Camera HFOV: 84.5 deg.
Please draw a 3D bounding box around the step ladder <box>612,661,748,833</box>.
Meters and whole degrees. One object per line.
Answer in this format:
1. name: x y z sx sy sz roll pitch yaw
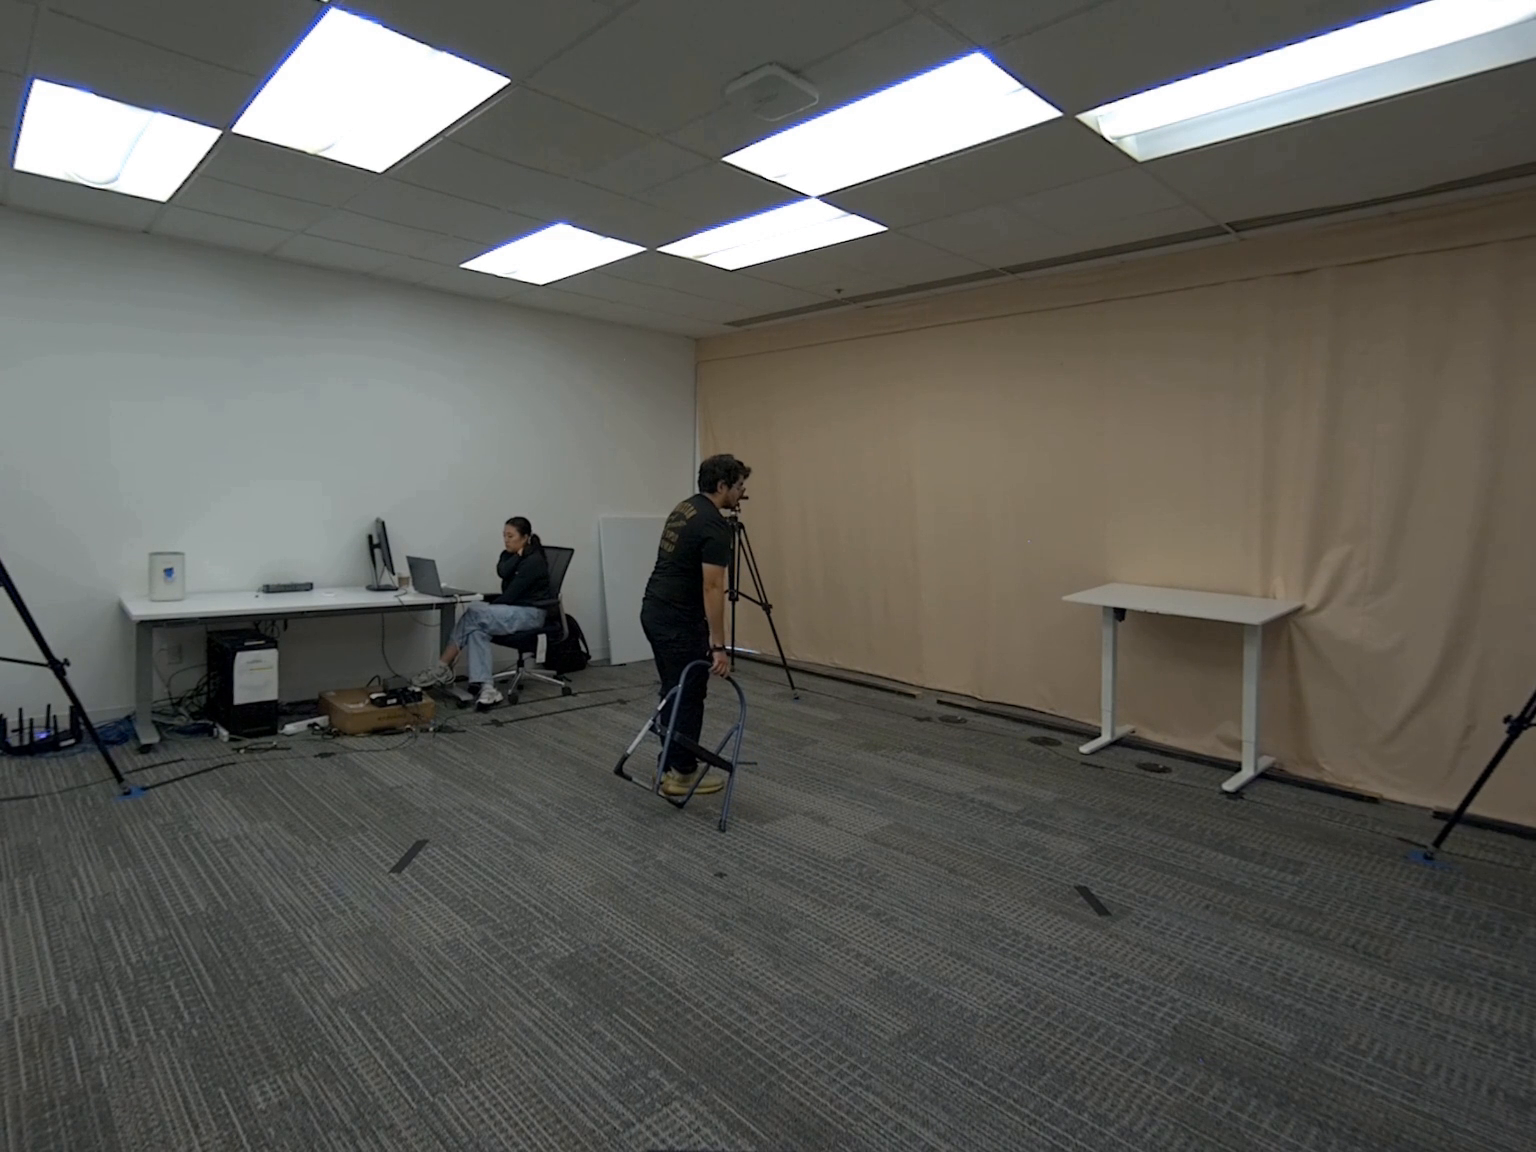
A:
1. step ladder: -0.302 0.693 3.631 0.358 0.609 0.418 5 -28 50
